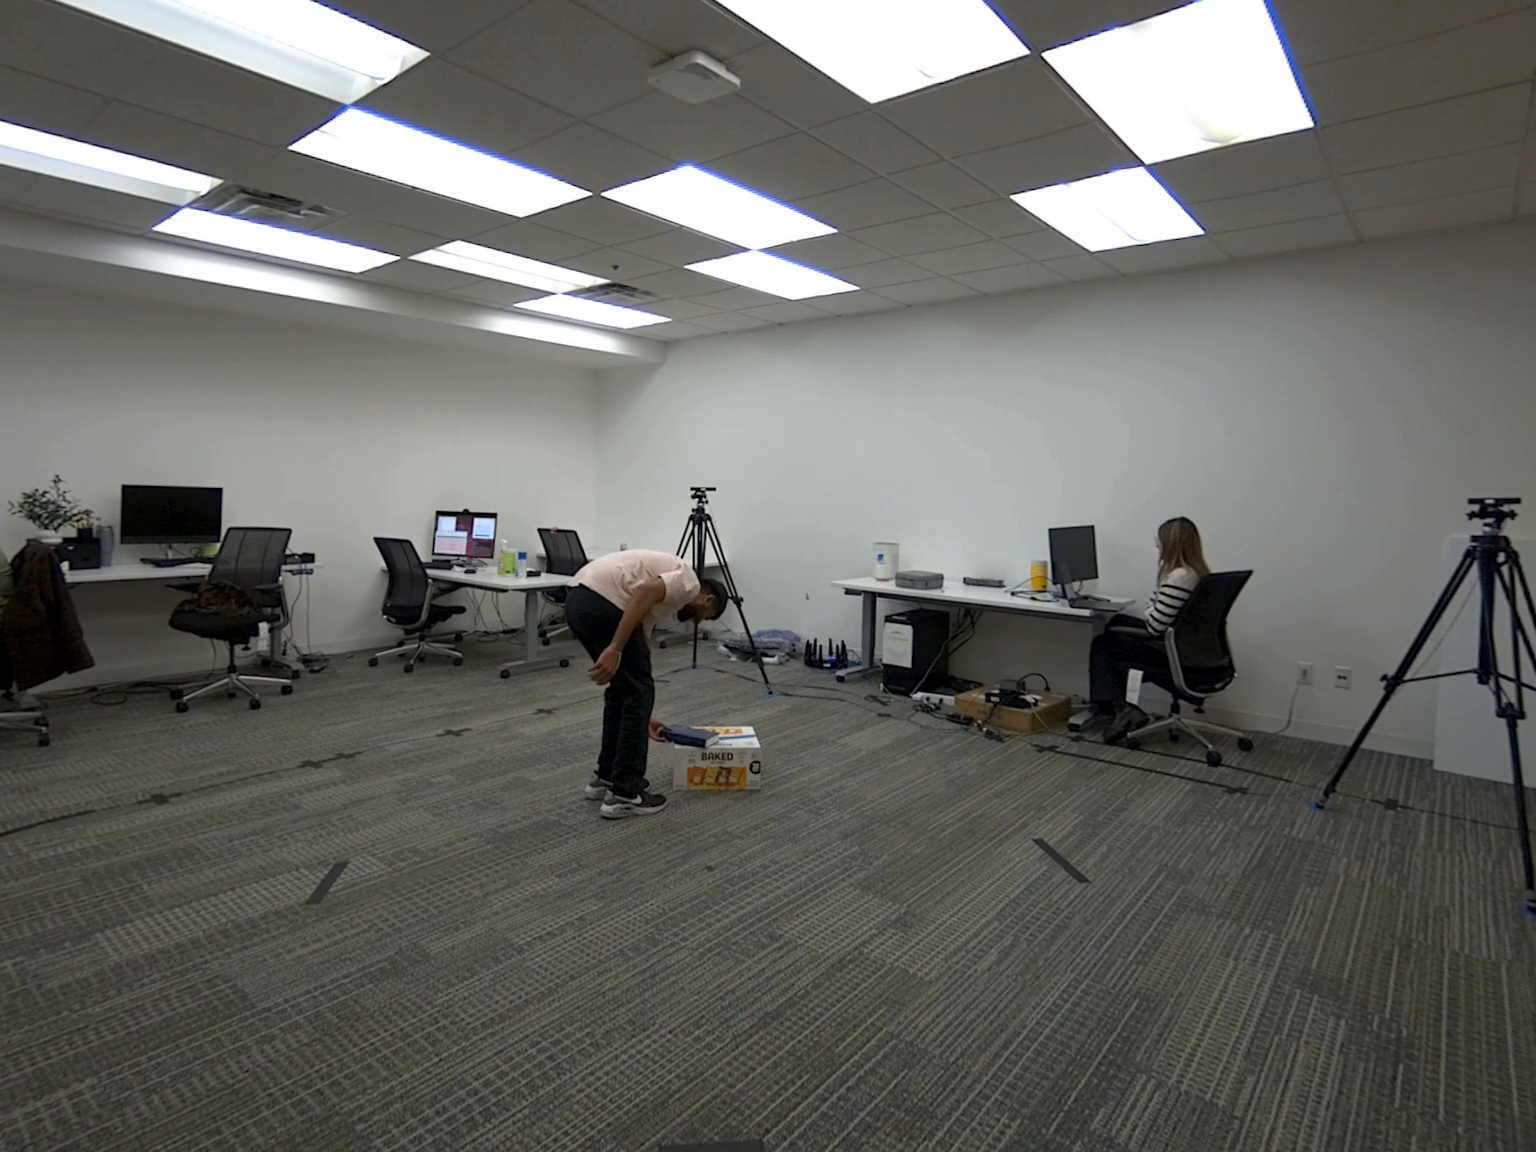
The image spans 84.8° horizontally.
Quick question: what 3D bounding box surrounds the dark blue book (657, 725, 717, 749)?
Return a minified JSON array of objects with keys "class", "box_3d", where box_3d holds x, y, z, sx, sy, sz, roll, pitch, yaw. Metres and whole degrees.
[{"class":"dark blue book","box_3d":[-0.383,0.751,4.014,0.251,0.045,0.159,6,3,22]}]
